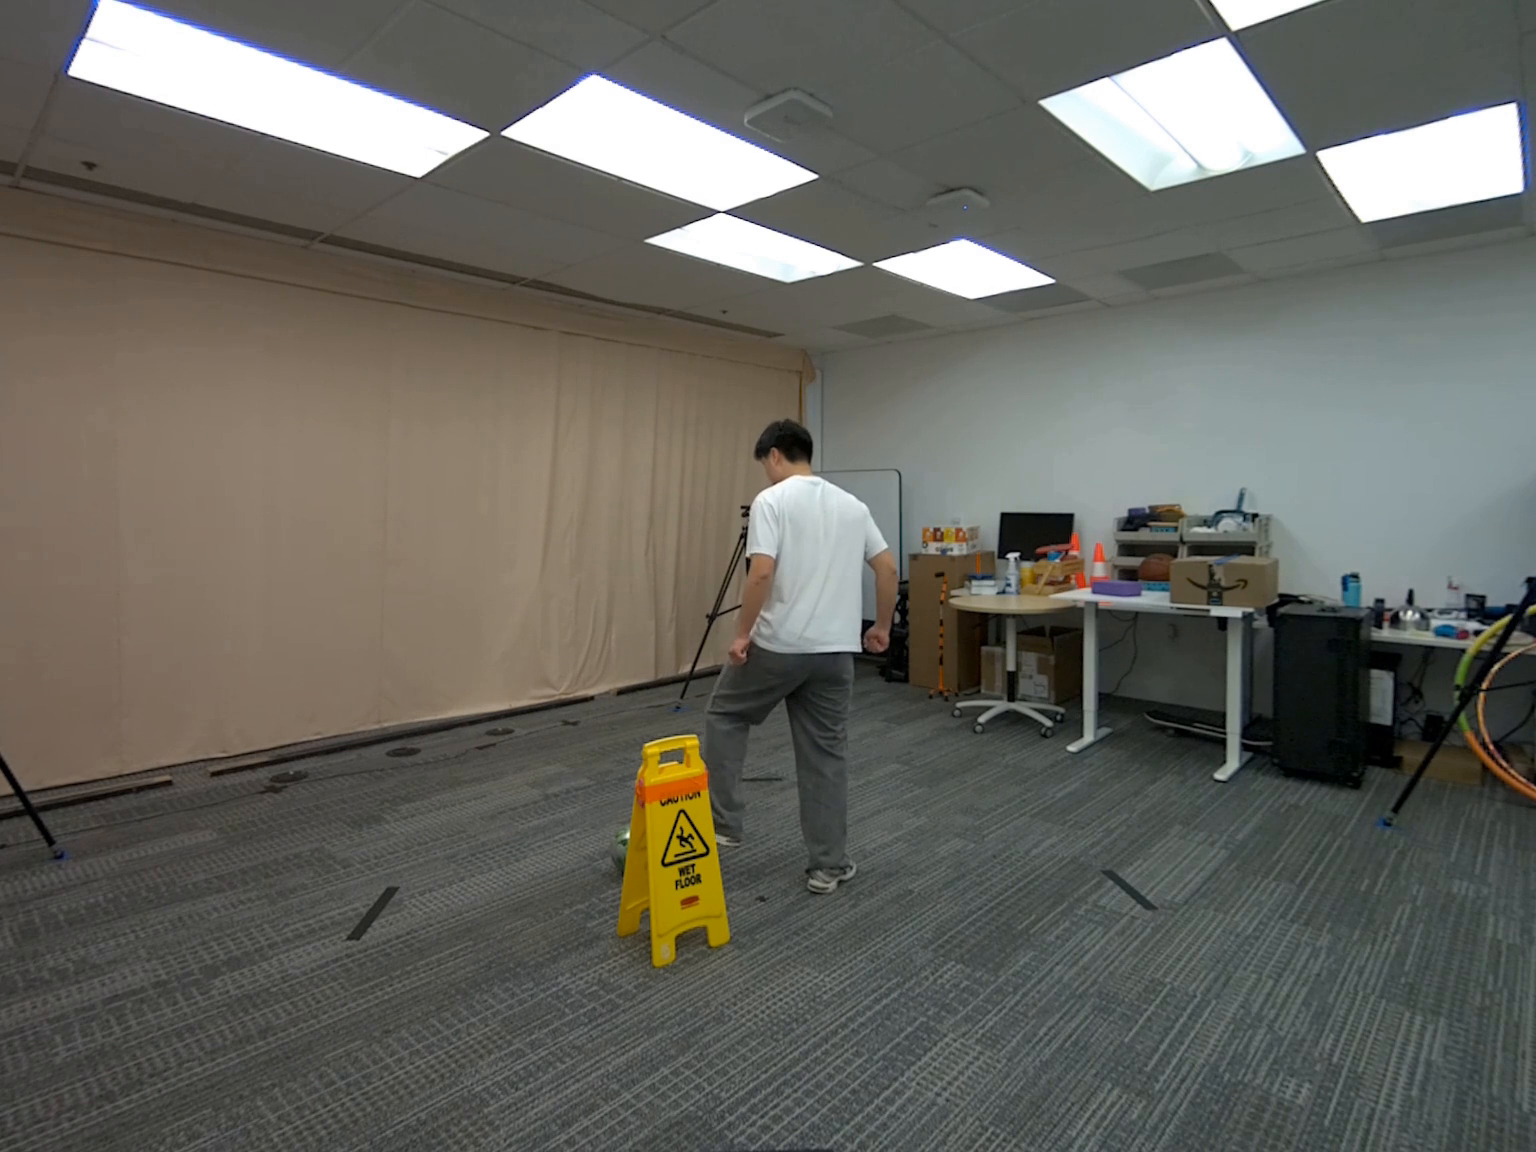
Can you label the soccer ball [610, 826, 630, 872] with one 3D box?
[{"bbox_3d":[-0.495,1.059,3.191,0.187,0.187,0.188,0,4,-2],"label":"soccer ball"}]
